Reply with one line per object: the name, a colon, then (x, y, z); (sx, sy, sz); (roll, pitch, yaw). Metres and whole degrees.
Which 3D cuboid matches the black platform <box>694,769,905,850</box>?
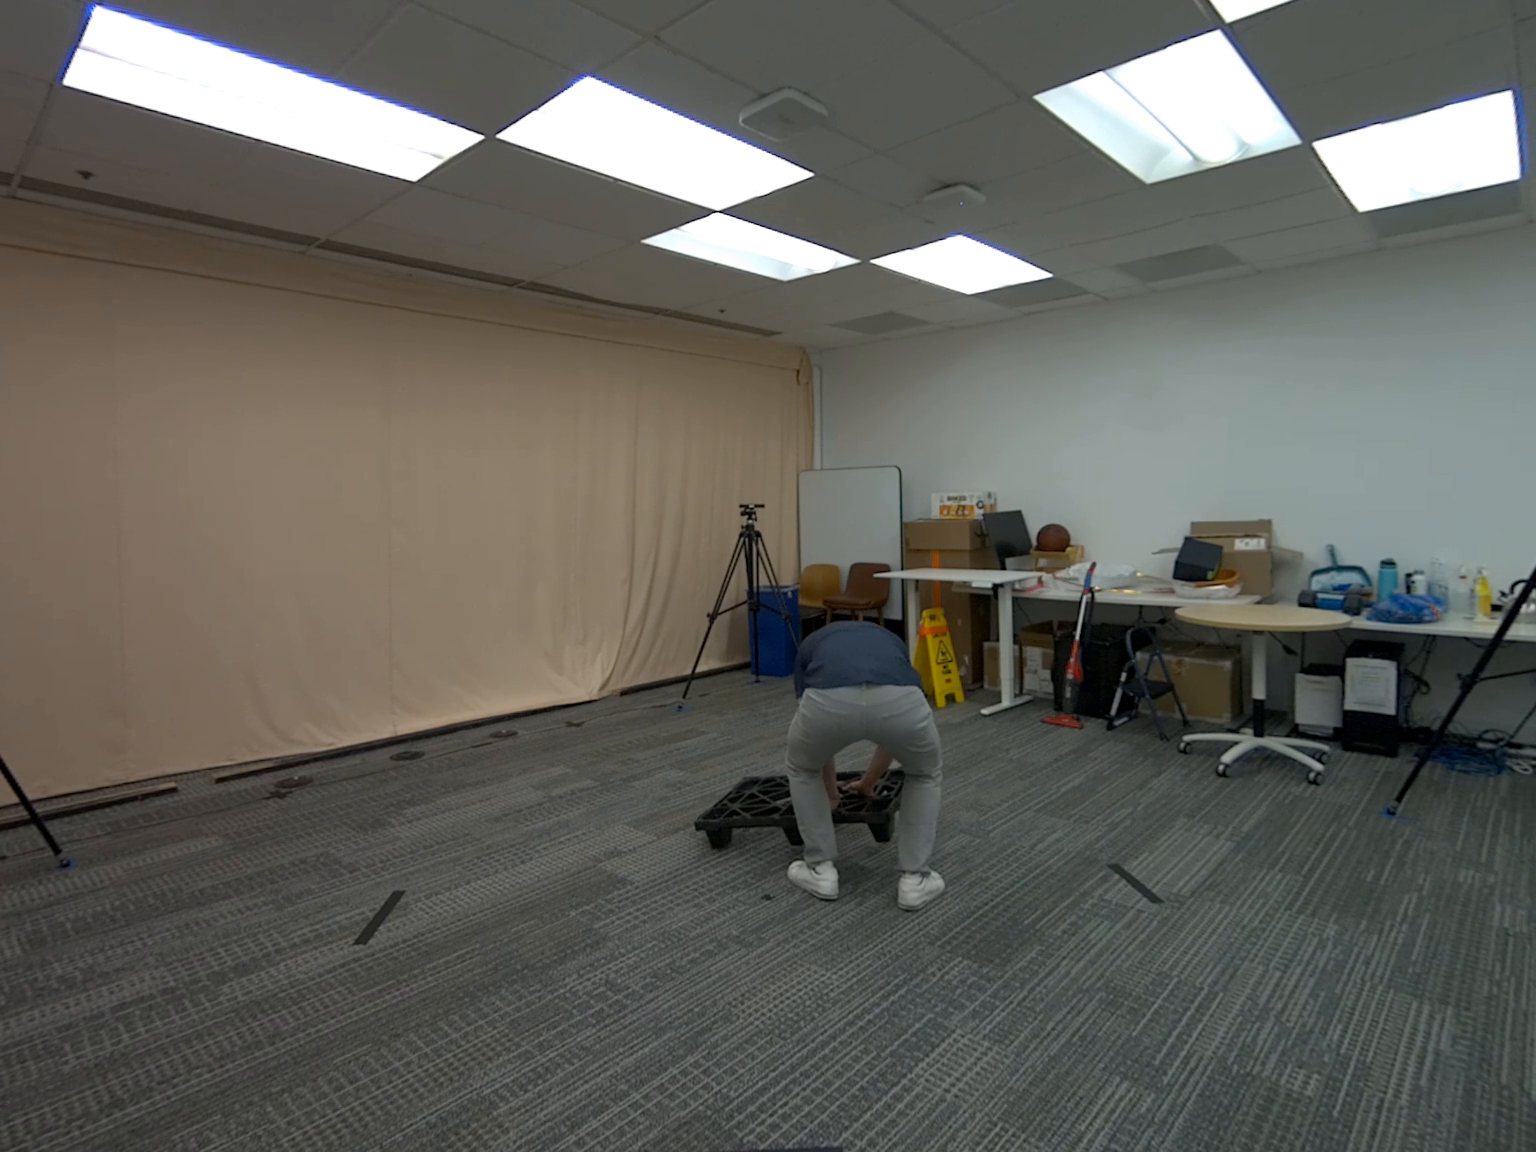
black platform: (0.180, 0.968, 3.493); (0.821, 0.143, 0.593); (-9, 2, 21)
